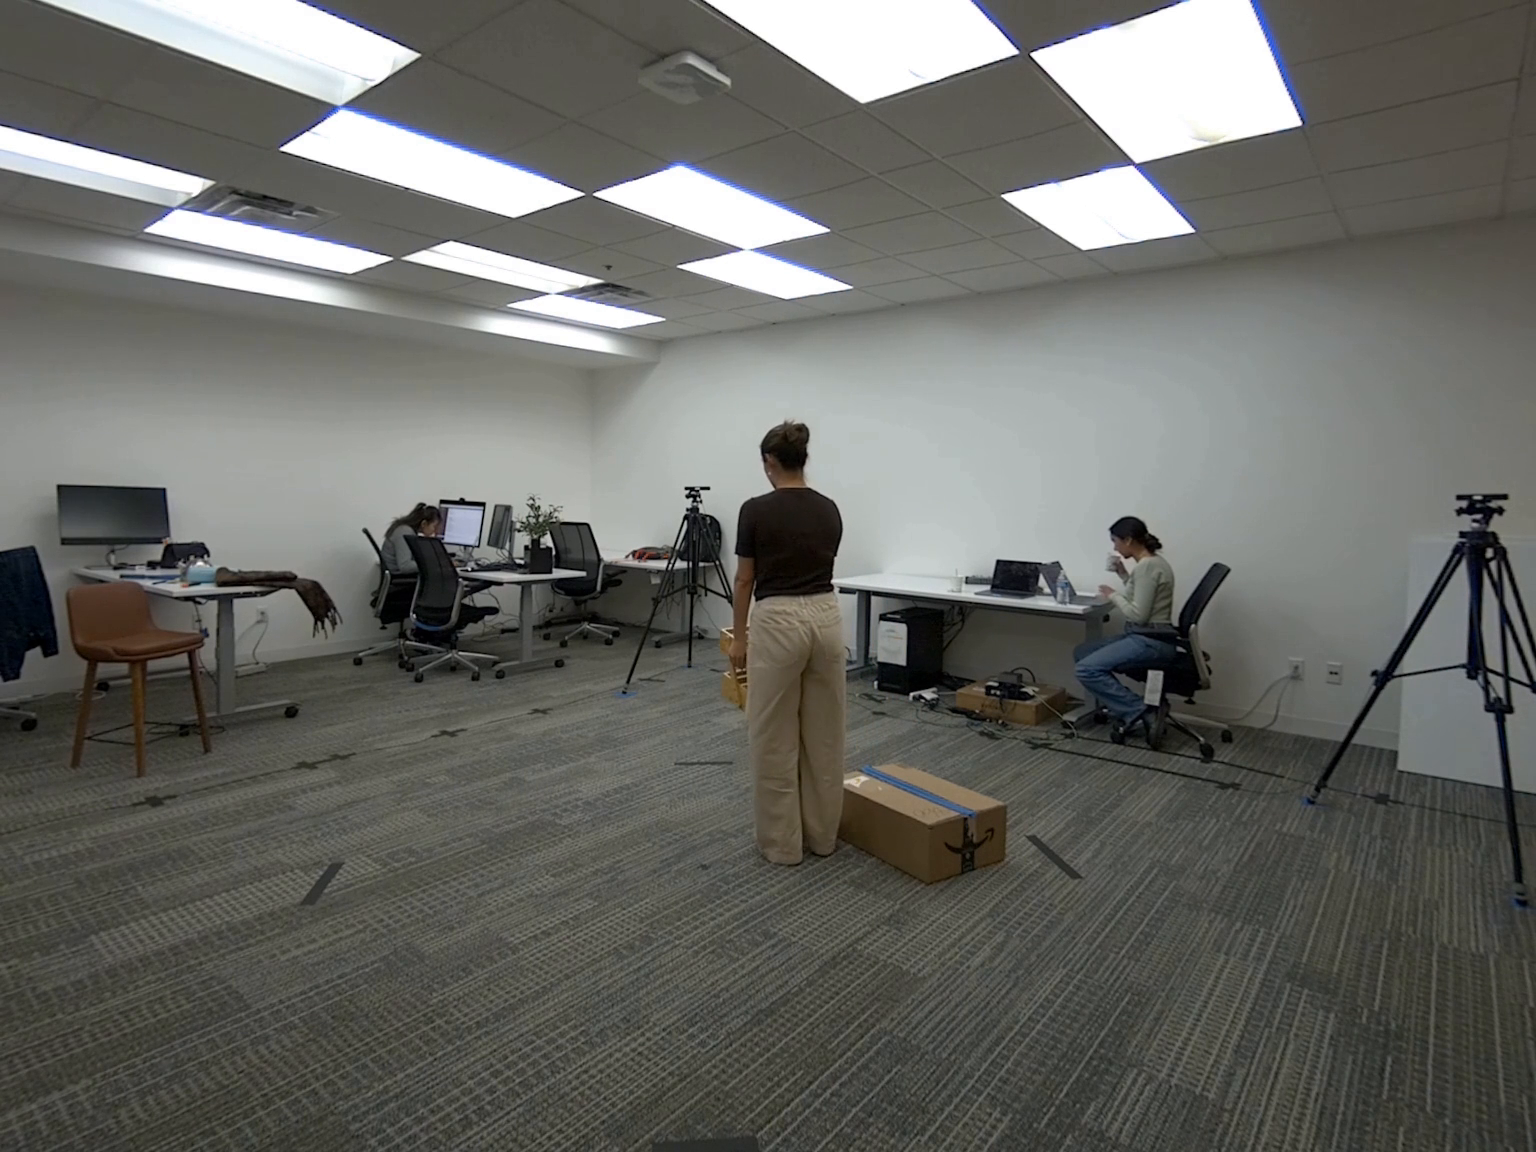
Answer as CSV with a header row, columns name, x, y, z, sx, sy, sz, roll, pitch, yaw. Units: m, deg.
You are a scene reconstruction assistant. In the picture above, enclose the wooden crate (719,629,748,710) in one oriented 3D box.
name,x,y,z,sx,sy,sz,roll,pitch,yaw
wooden crate,0.003,0.360,3.373,0.316,0.270,0.314,-5,20,-35
